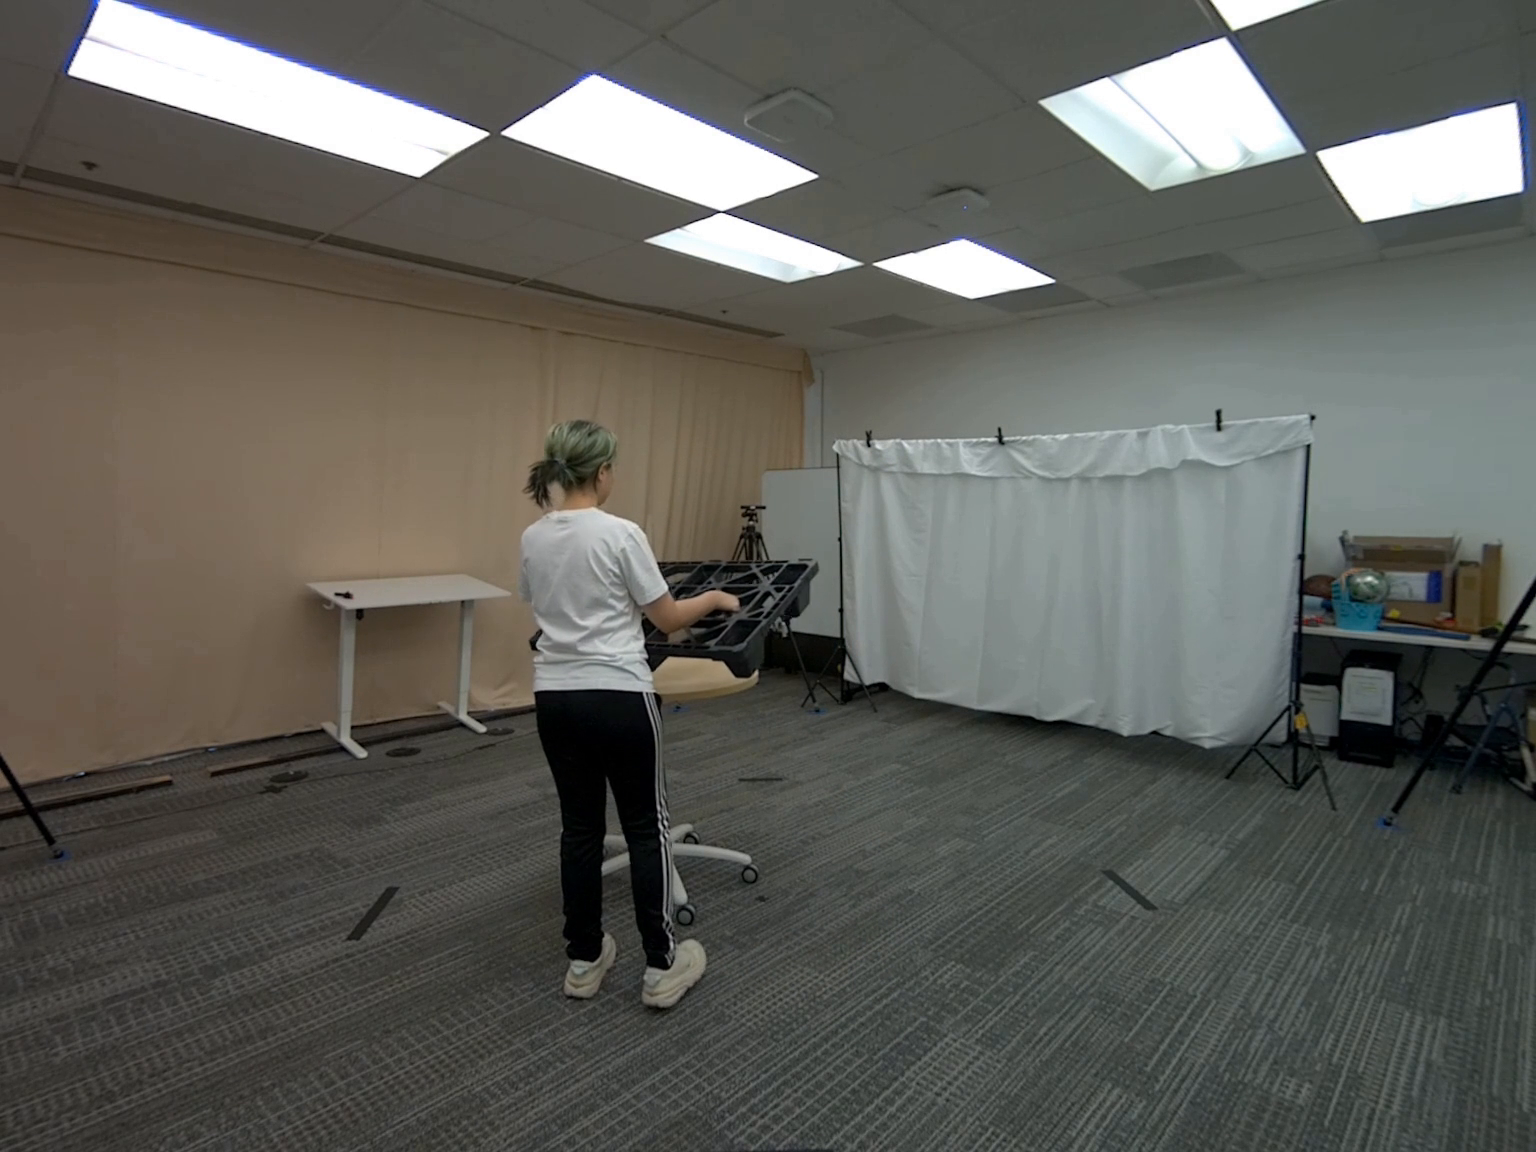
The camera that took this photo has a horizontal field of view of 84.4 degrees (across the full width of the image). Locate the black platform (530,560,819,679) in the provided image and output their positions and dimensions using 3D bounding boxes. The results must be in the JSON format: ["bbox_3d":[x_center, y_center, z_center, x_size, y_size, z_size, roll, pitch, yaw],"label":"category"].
[{"bbox_3d":[-0.285,0.135,2.782,0.828,0.141,0.599,0,26,29],"label":"black platform"}]
